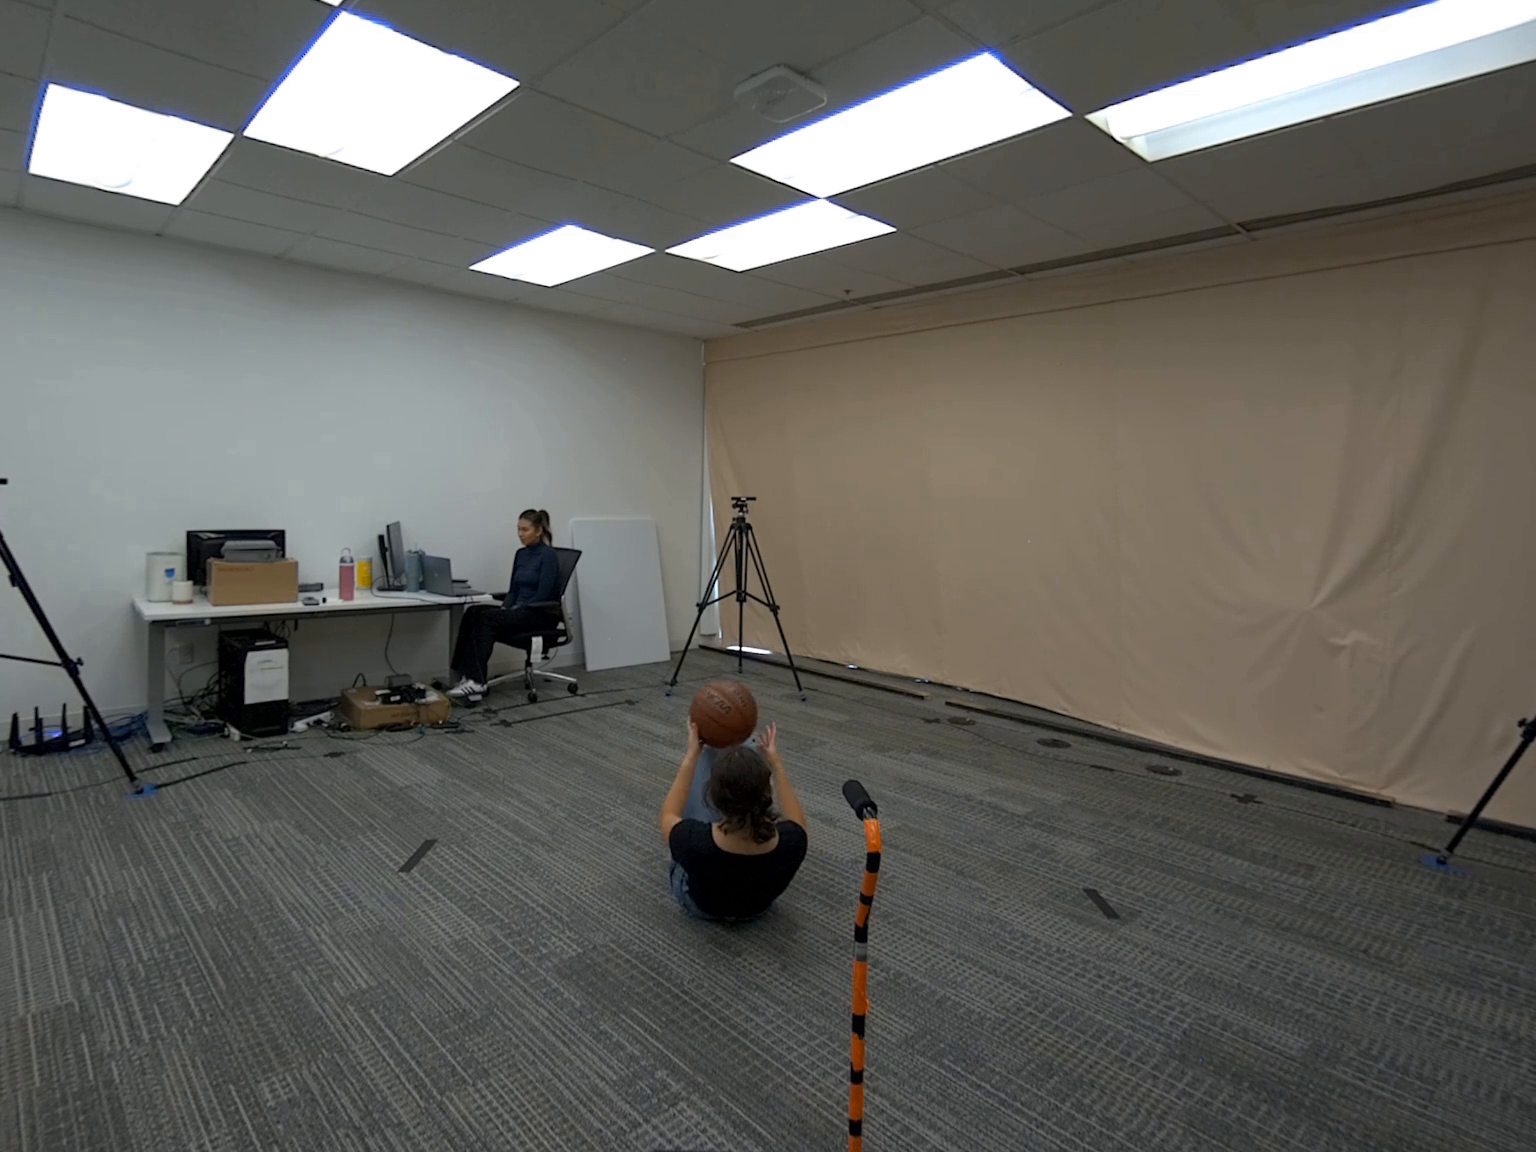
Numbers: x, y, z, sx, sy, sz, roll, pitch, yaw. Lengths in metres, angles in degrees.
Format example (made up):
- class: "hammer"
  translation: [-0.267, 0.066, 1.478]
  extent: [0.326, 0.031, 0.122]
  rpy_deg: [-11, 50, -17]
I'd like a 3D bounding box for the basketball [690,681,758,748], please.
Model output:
- class: "basketball"
  translation: [-0.163, 0.507, 2.945]
  extent: [0.236, 0.235, 0.237]
  rpy_deg: [1, 4, -1]
